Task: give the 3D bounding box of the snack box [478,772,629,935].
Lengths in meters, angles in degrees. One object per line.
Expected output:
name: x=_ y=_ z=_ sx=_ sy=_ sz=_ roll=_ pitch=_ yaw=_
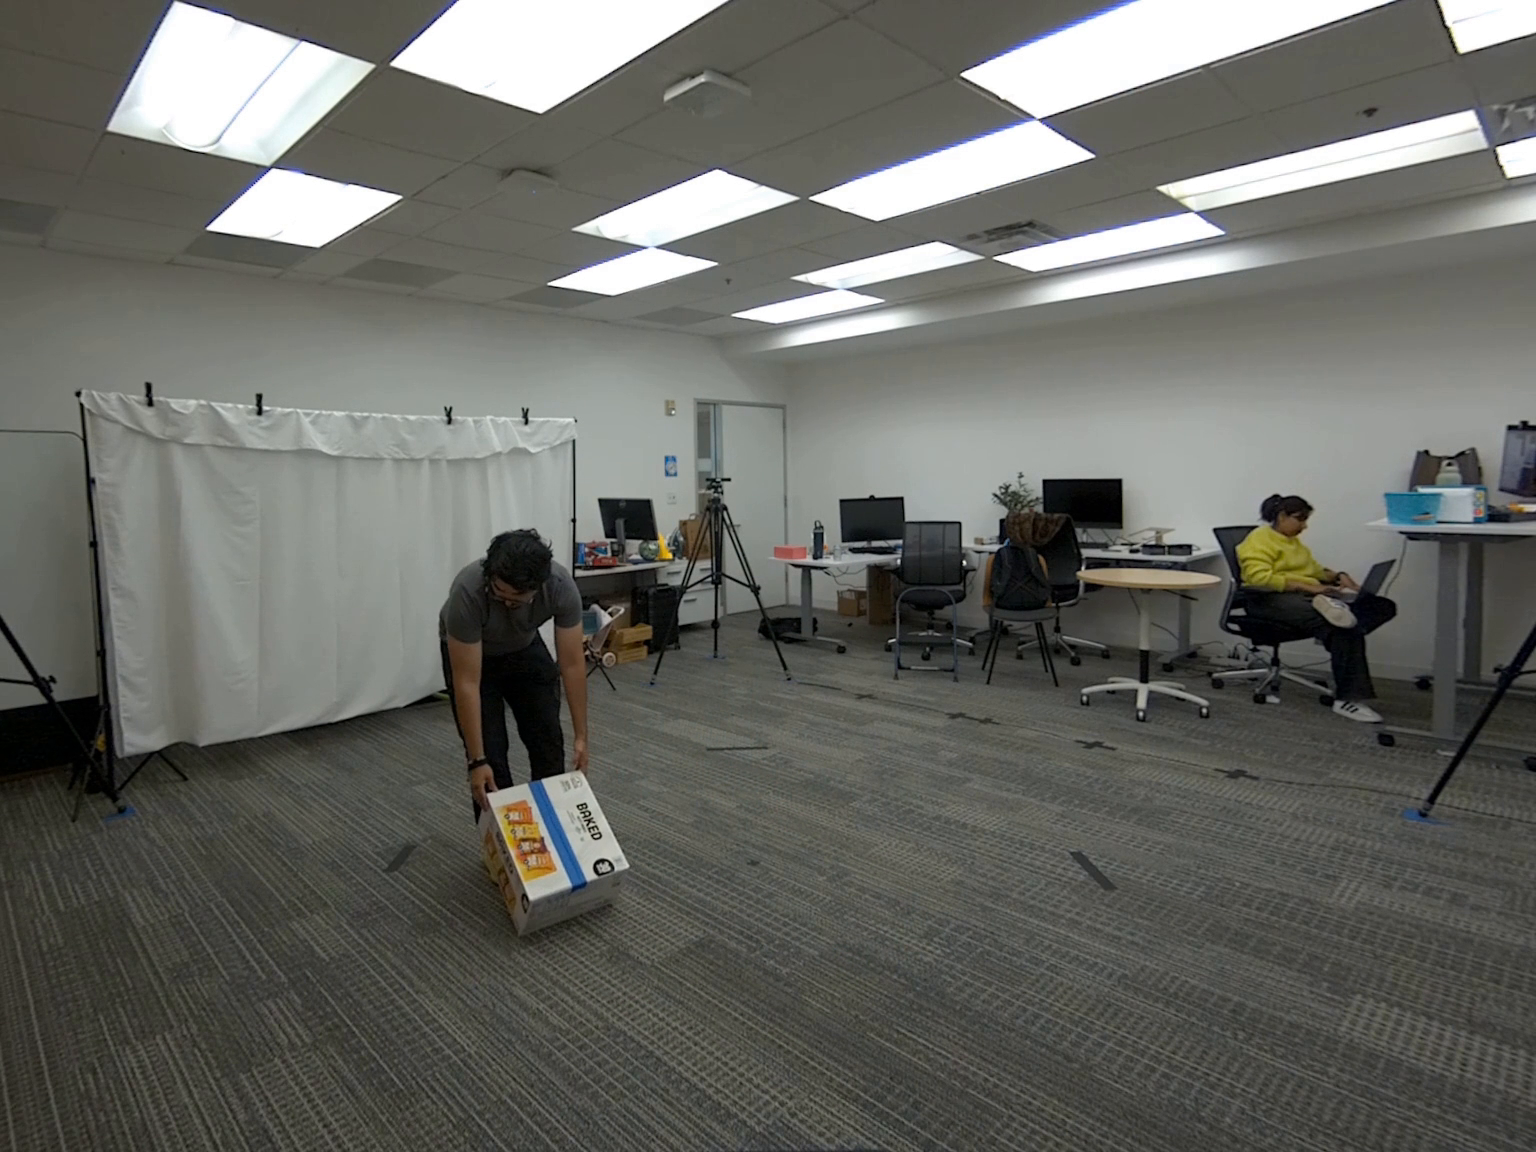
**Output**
snack box: x=-0.704 y=0.896 z=2.795 sx=0.332 sy=0.203 sz=0.421 roll=-7 pitch=42 yaw=-36
